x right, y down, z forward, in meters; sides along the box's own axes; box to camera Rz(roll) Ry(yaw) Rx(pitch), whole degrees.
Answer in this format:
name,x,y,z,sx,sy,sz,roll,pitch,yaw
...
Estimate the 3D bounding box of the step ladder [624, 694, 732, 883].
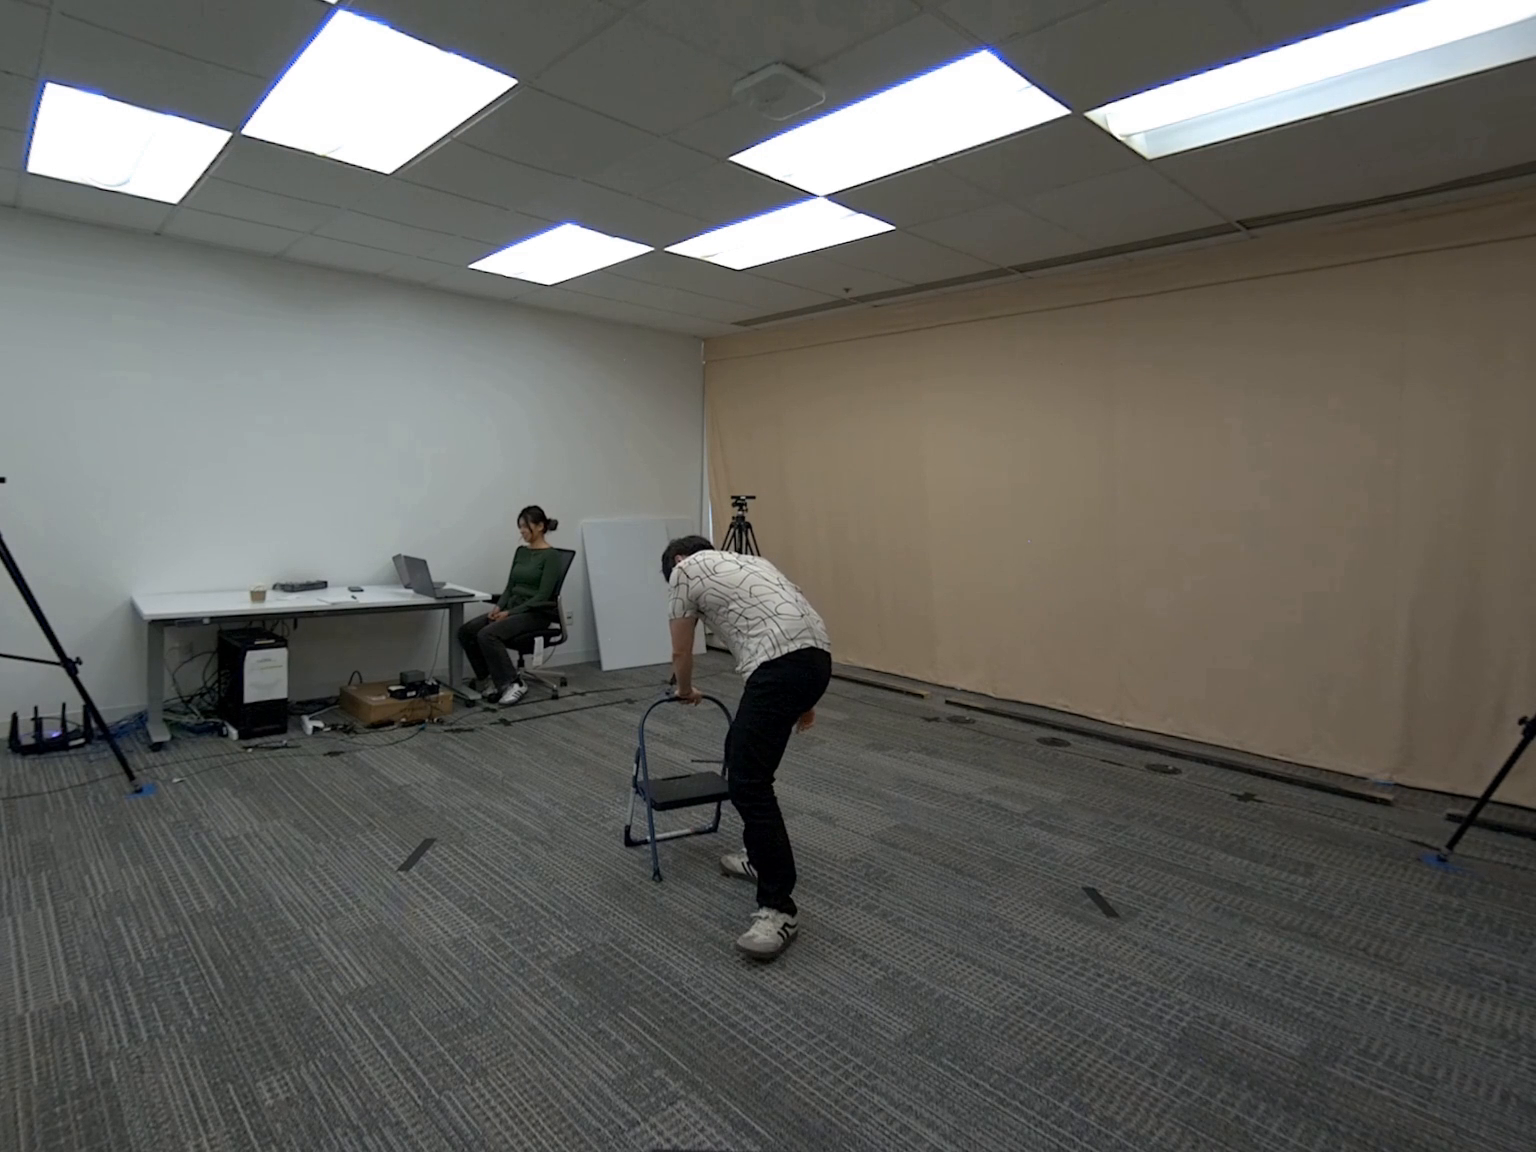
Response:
name,x,y,z,sx,sy,sz,roll,pitch,yaw
step ladder,-0.309,0.778,3.269,0.422,0.605,0.357,-1,4,-30
